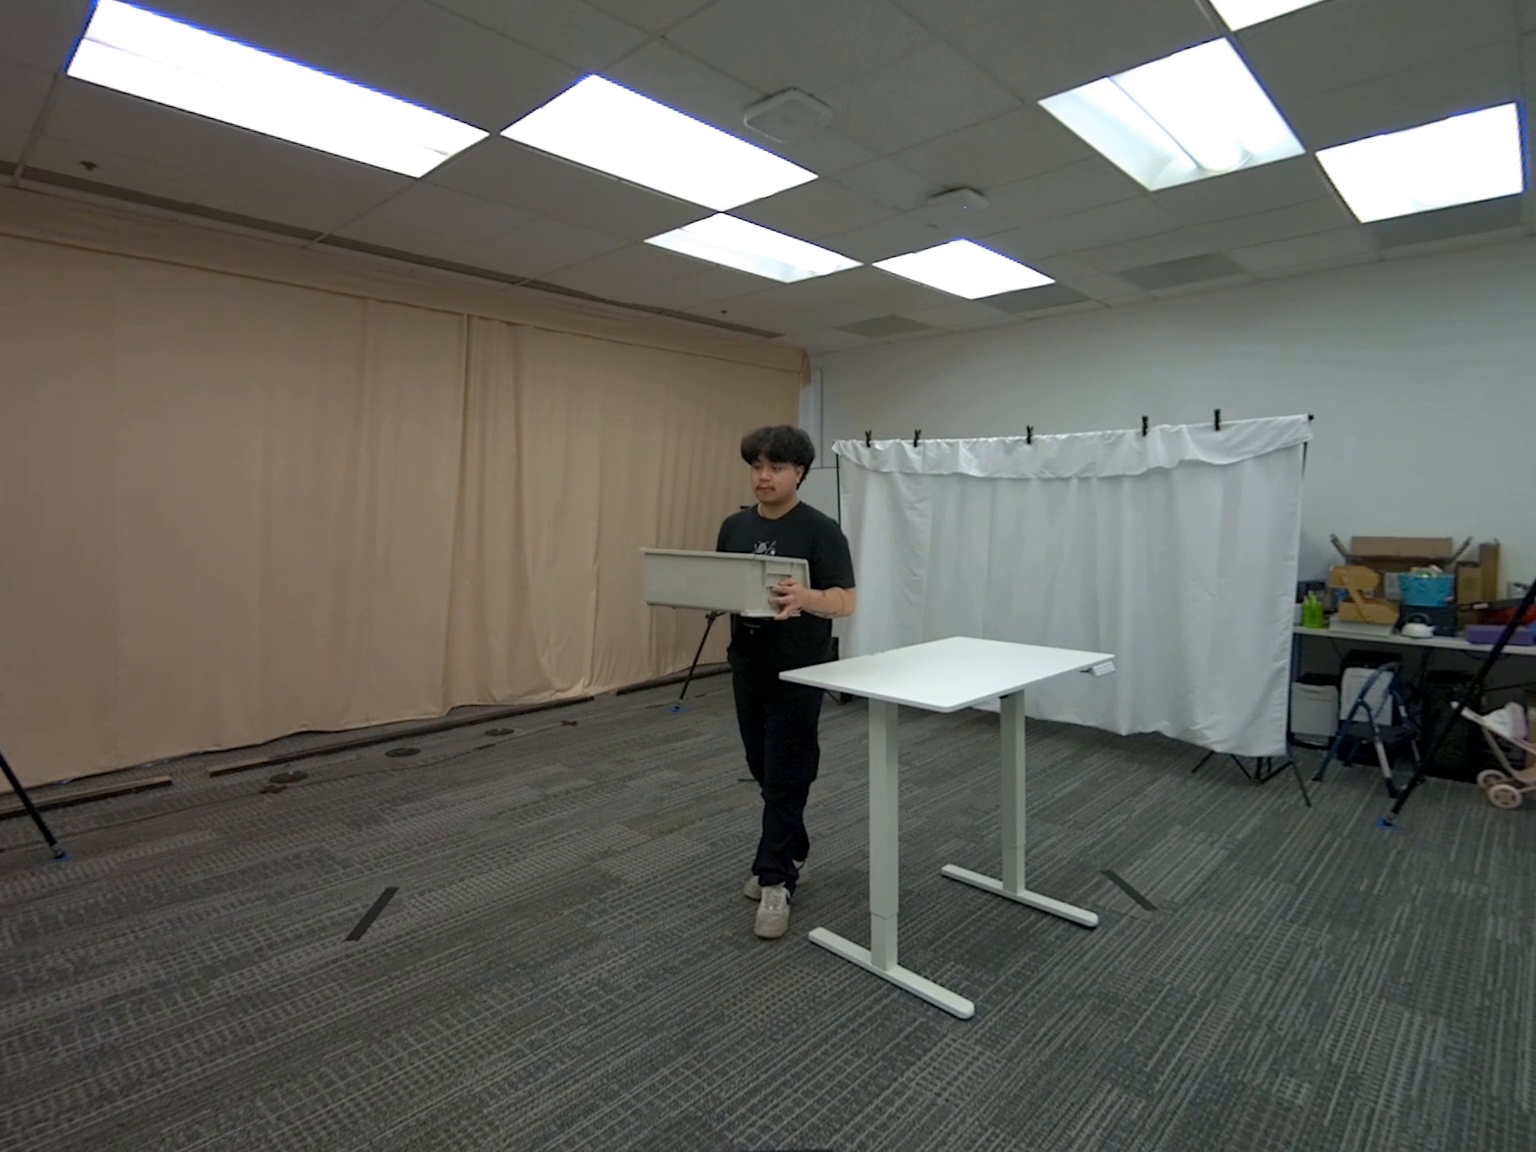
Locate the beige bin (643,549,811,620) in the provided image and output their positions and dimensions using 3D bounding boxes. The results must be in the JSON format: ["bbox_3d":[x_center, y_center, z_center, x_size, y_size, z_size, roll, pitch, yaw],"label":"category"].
[{"bbox_3d":[-0.135,0.025,2.679,0.435,0.189,0.366,5,1,31],"label":"beige bin"}]
